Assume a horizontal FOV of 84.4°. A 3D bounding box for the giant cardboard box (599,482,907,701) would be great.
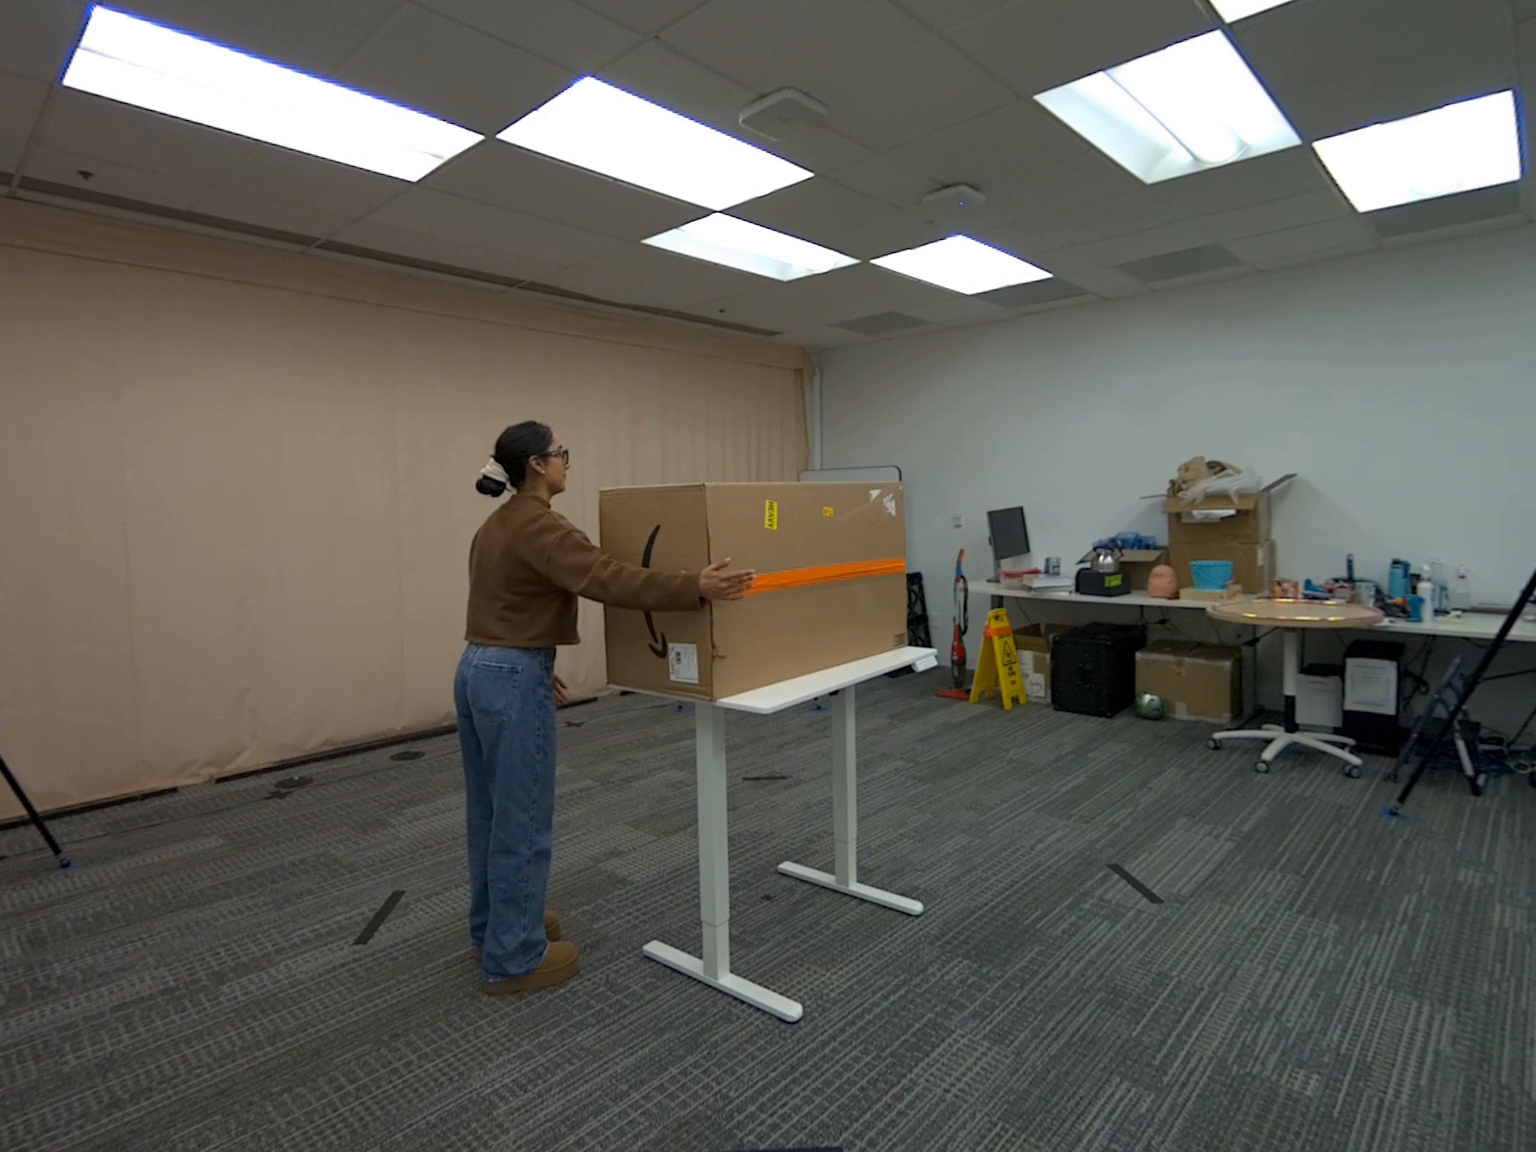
[{"bbox_3d":[0.002,-0.001,2.700,0.440,0.576,0.995,0,5,40],"label":"giant cardboard box"}]
